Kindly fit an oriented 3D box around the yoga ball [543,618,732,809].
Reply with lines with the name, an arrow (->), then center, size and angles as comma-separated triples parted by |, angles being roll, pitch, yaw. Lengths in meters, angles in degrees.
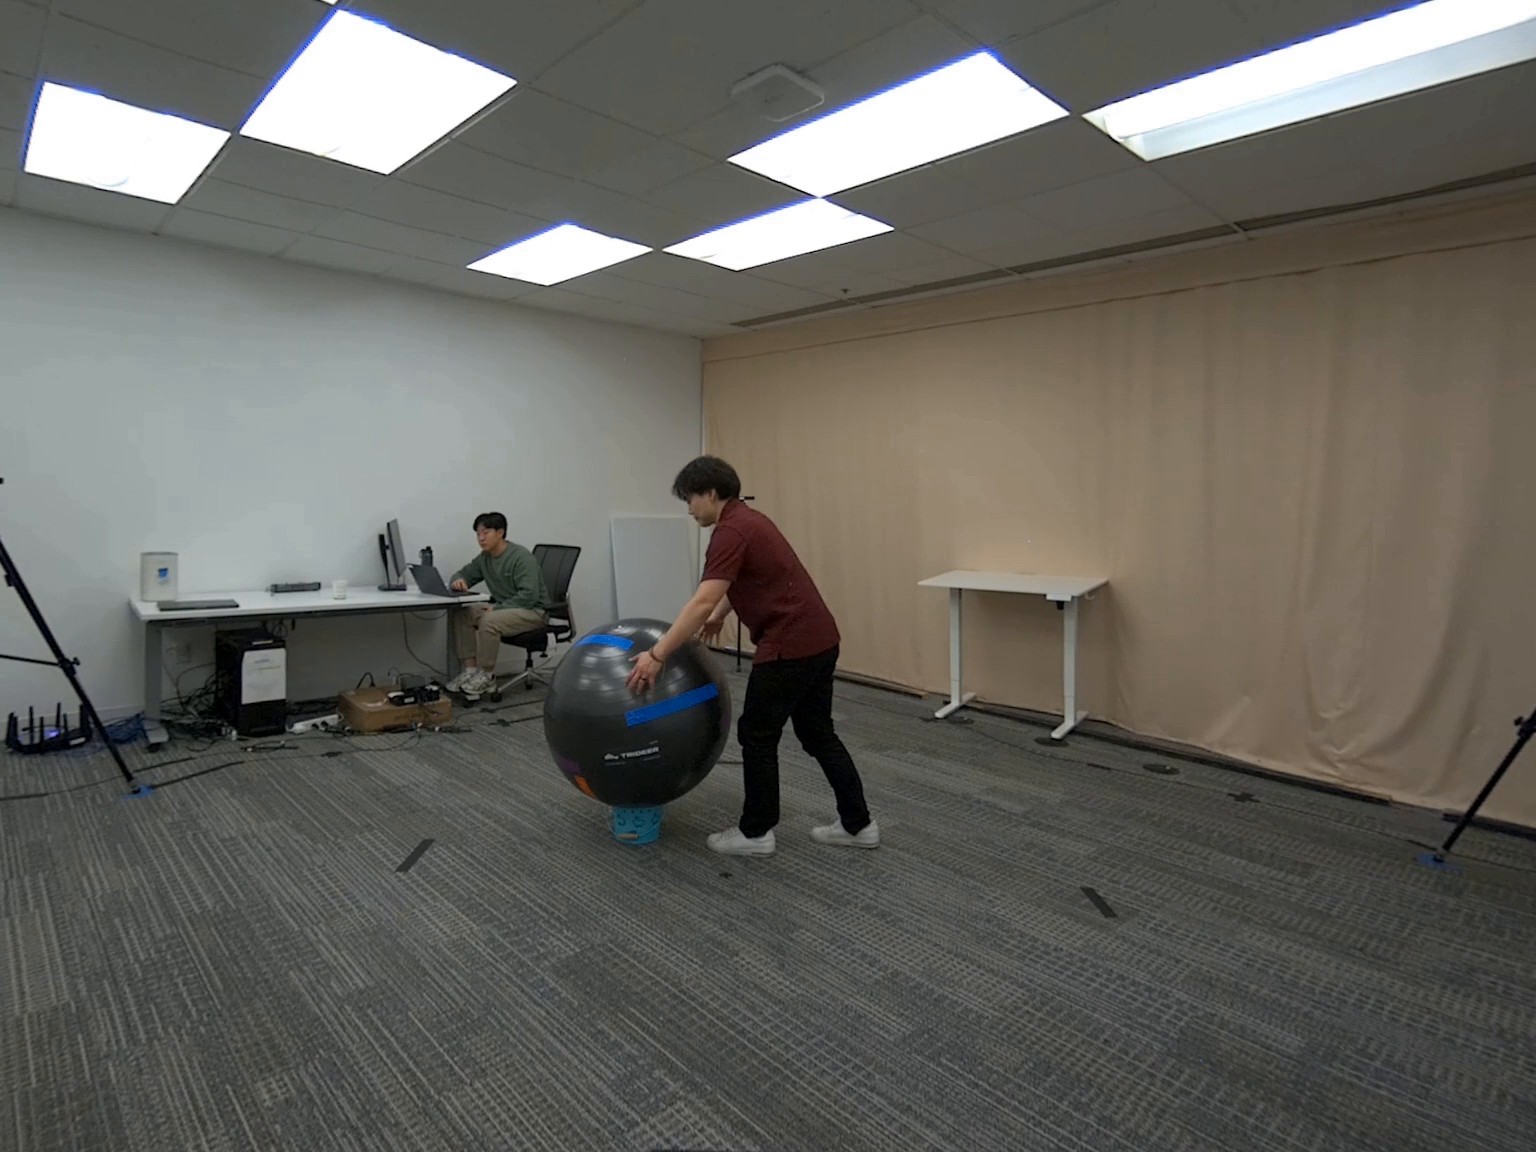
yoga ball -> -0.540, 0.555, 3.431 | 0.757, 0.756, 0.761 | 1, 4, -1
